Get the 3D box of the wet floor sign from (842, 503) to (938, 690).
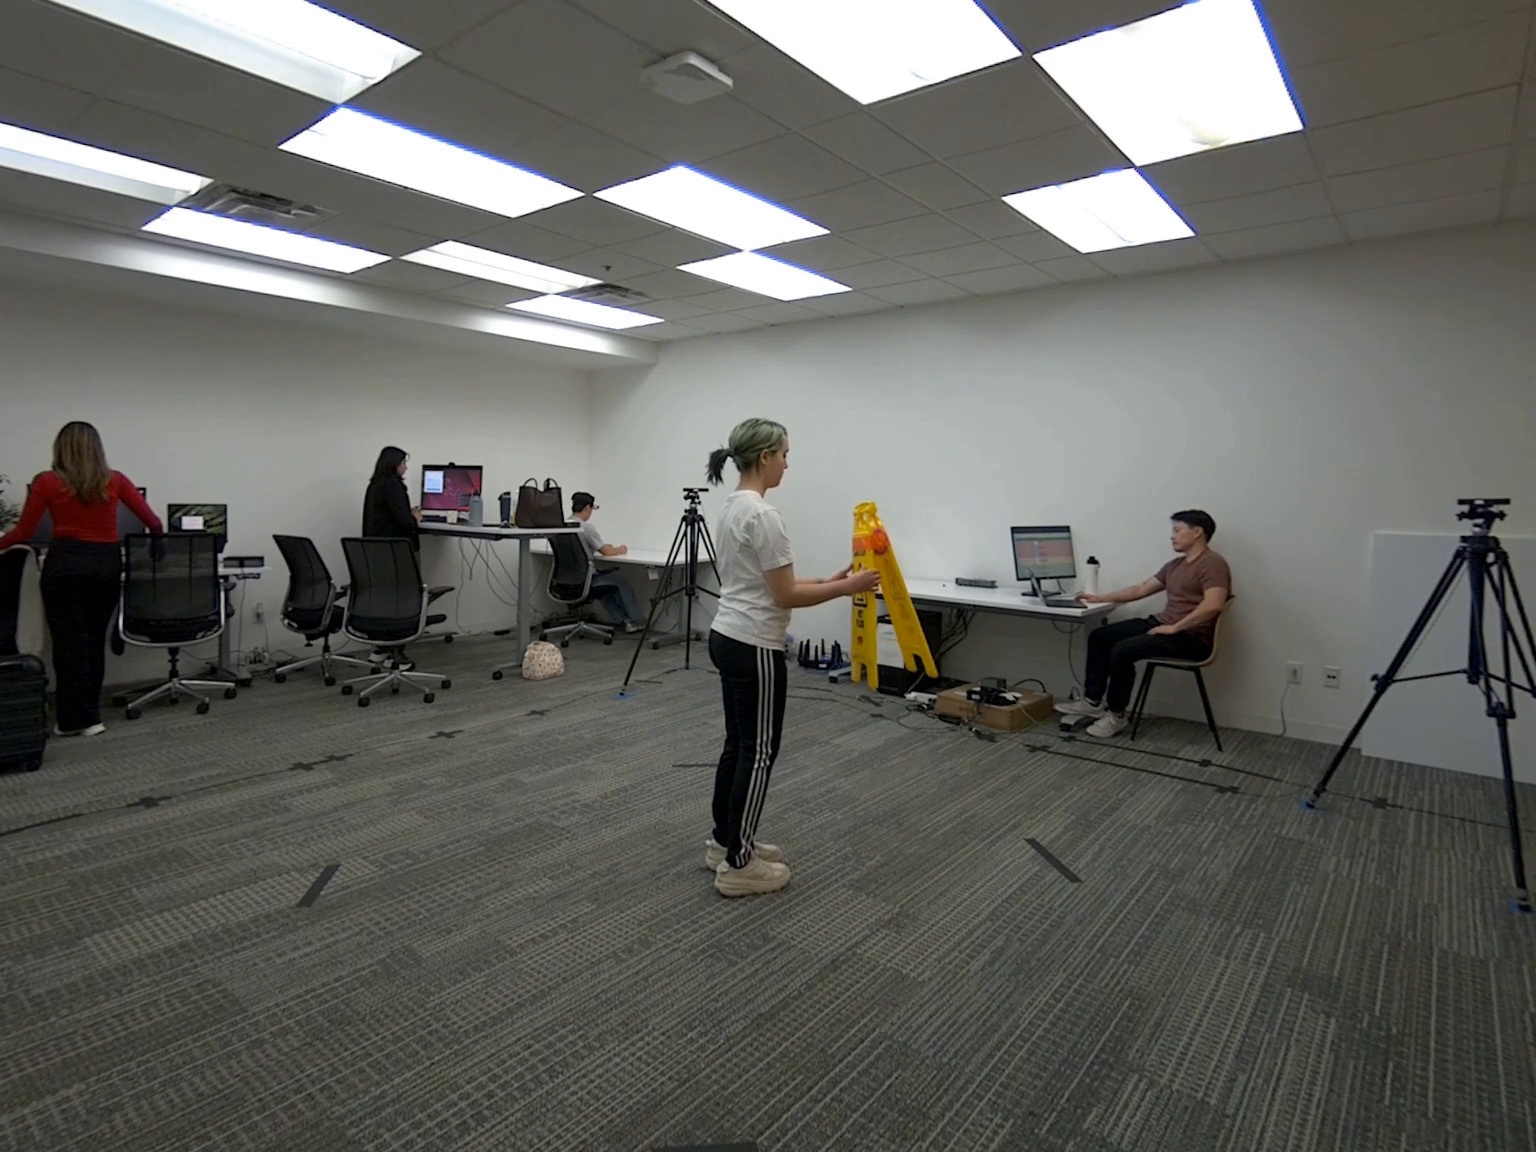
[{"bbox_3d":[0.402,0.057,3.109,0.287,0.647,0.284,-8,-1,-9],"label":"wet floor sign"}]
